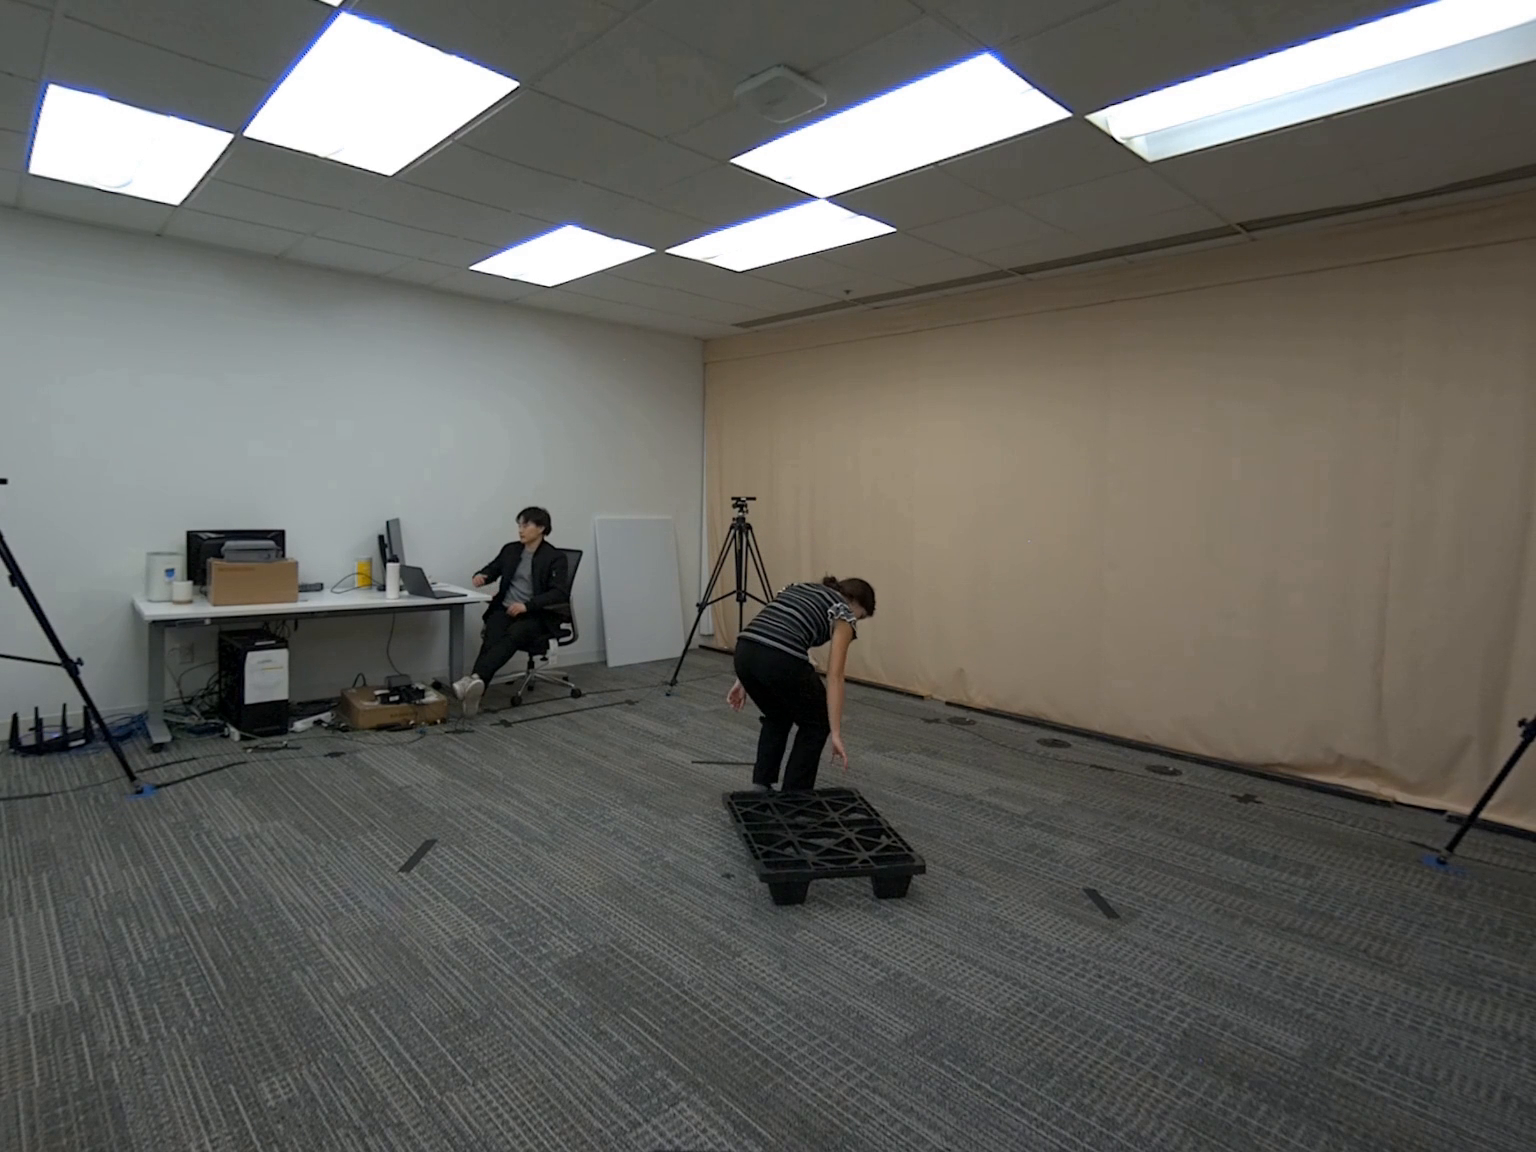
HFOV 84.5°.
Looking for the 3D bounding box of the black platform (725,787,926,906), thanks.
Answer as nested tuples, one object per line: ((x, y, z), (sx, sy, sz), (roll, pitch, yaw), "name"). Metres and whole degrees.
((0.169, 1.029, 3.278), (0.599, 0.143, 0.815), (1, 5, -12), "black platform")
